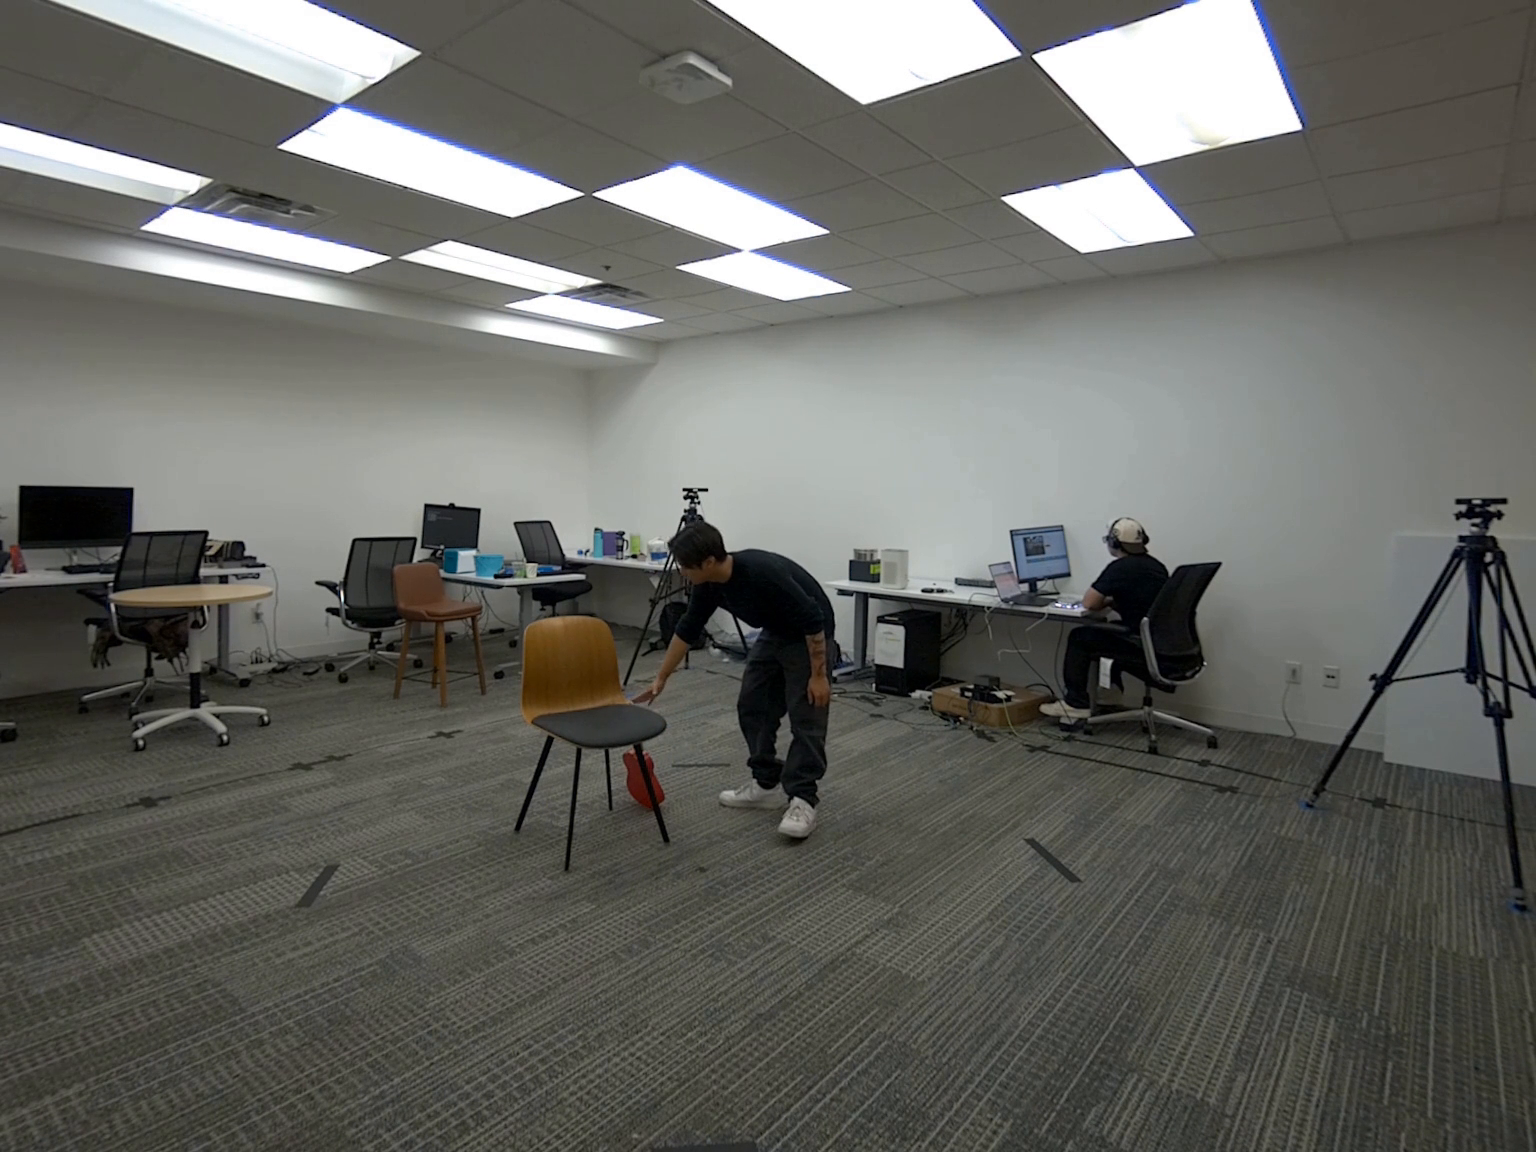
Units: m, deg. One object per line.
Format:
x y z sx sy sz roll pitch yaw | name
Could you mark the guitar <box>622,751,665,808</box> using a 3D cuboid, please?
-0.594 0.763 3.688 0.069 0.490 0.199 -25 17 -38 | guitar
